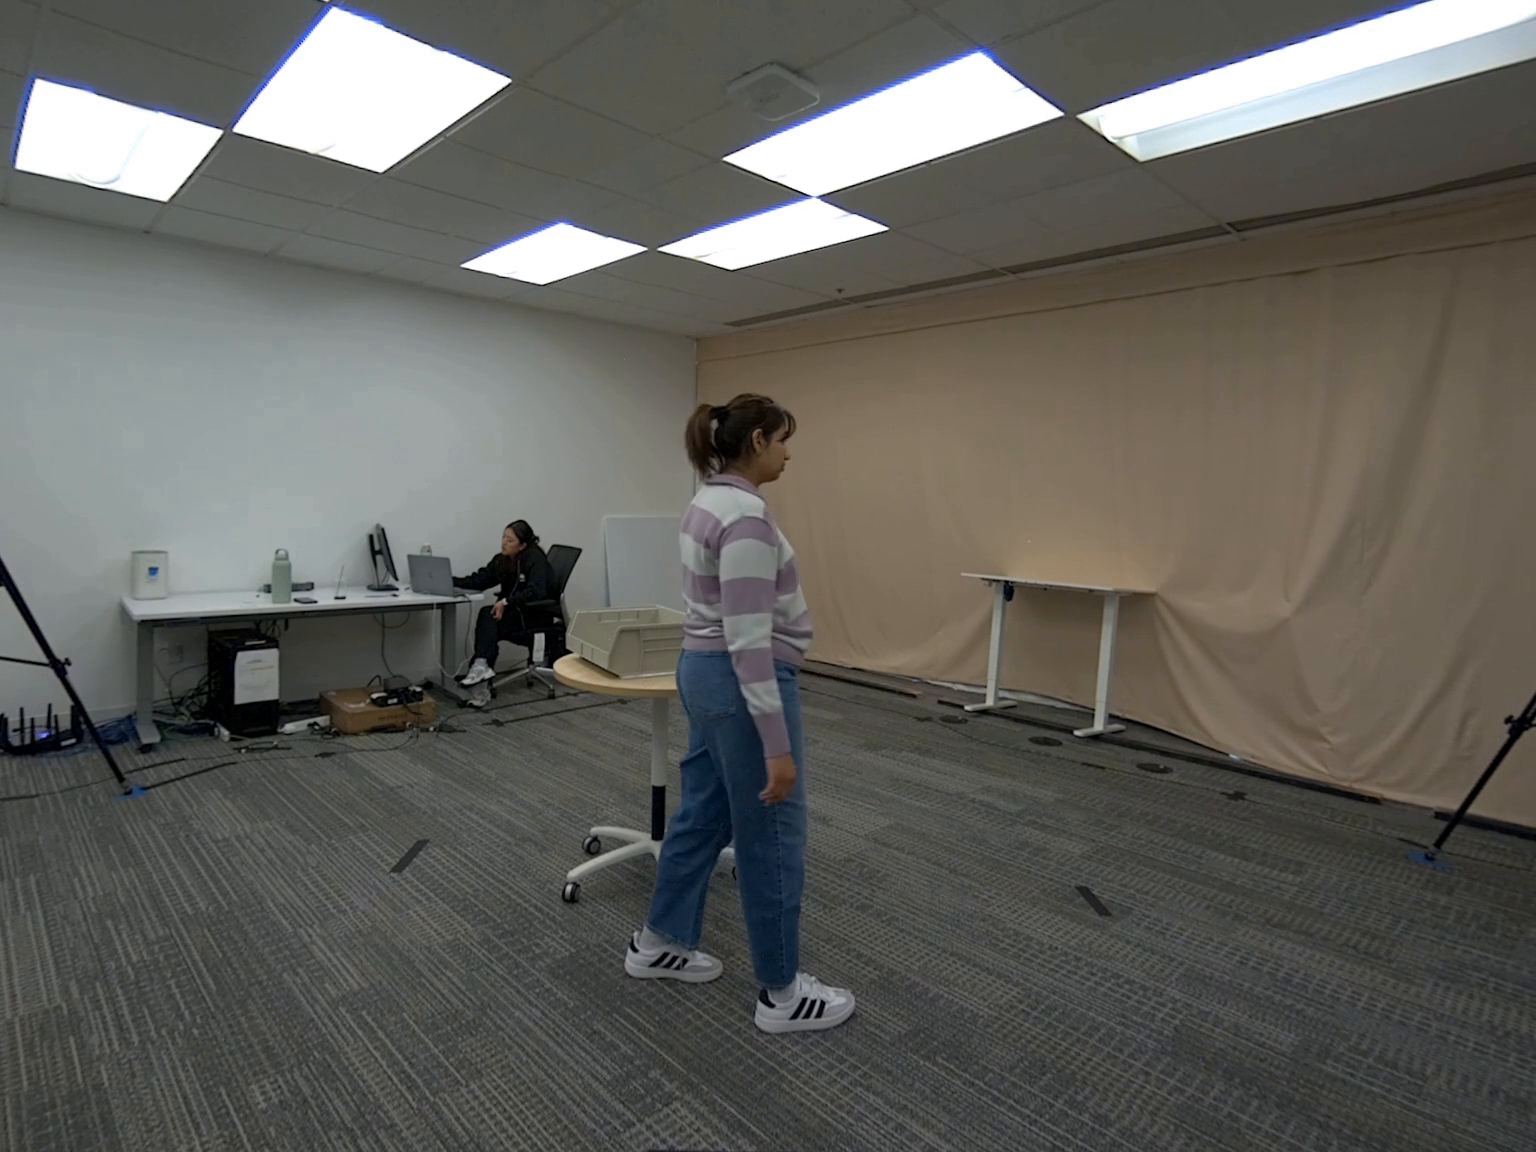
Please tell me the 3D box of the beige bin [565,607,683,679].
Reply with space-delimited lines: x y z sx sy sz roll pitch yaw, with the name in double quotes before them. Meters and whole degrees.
"beige bin" -0.481 0.233 3.012 0.369 0.188 0.432 1 4 -32
